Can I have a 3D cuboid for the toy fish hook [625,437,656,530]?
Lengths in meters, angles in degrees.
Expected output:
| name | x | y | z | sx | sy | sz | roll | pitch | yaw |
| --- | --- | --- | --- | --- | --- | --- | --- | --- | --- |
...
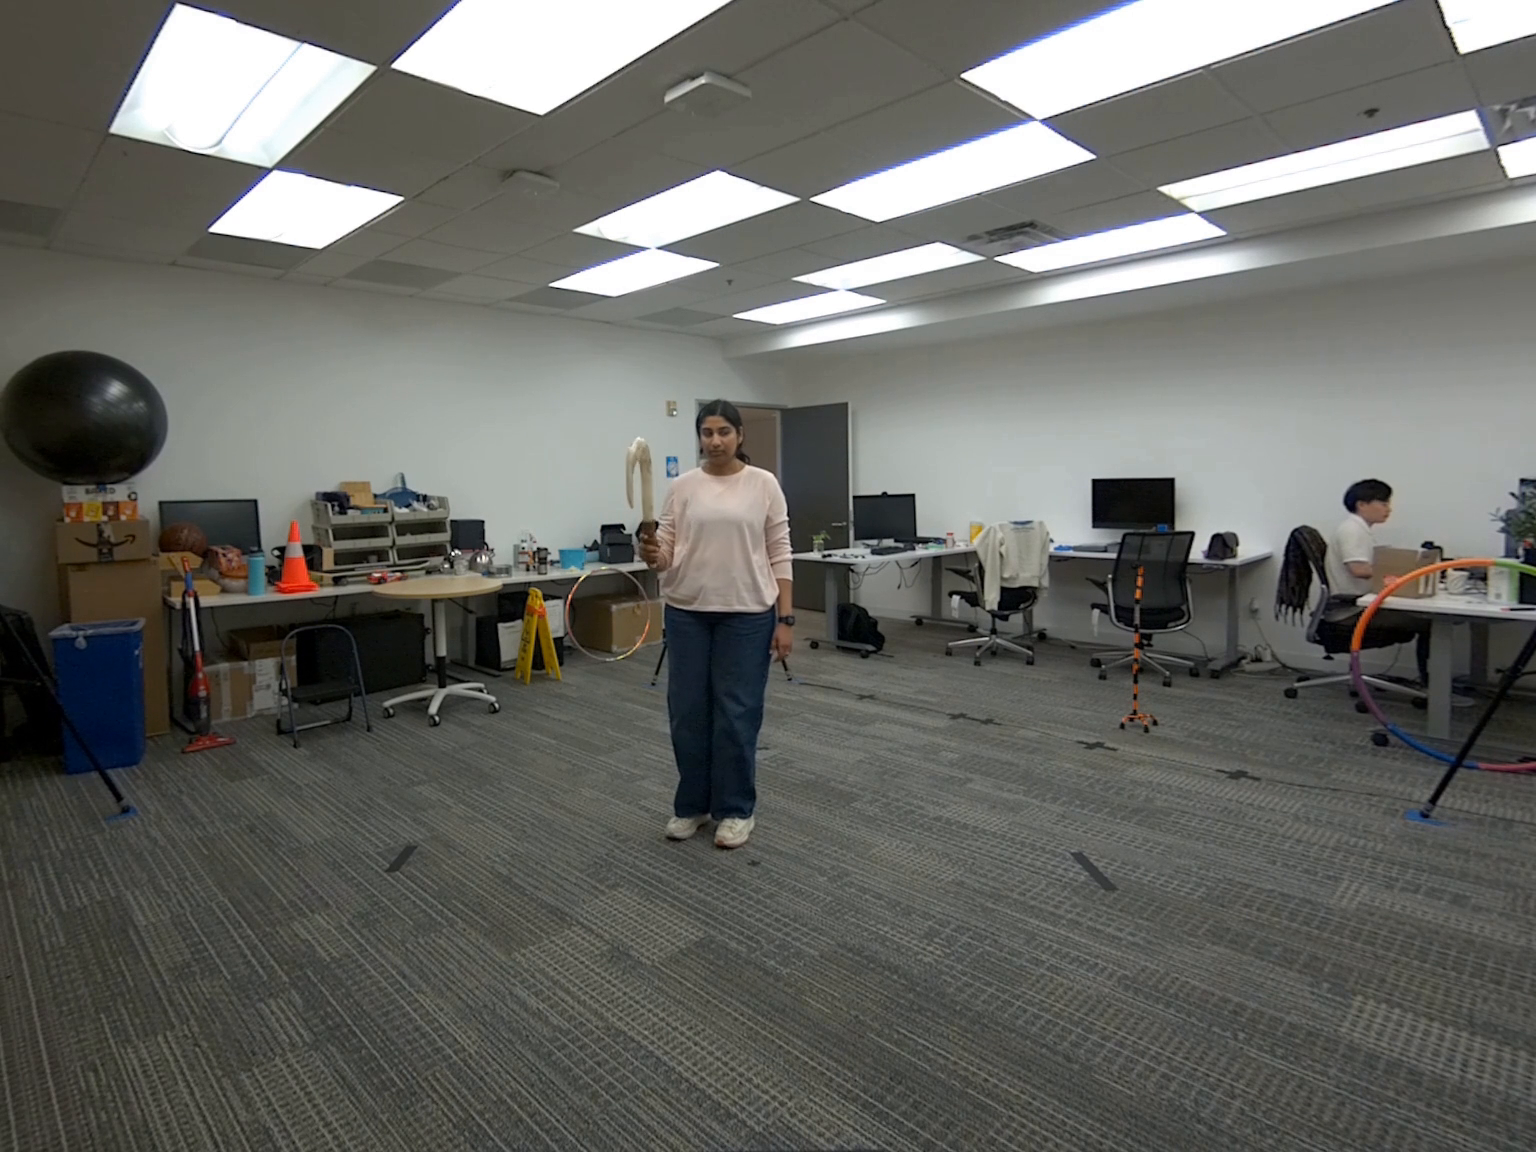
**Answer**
| name | x | y | z | sx | sy | sz | roll | pitch | yaw |
| --- | --- | --- | --- | --- | --- | --- | --- | --- | --- |
| toy fish hook | -0.438 | -0.211 | 2.880 | 0.049 | 0.494 | 0.227 | 4 | 30 | 13 |
